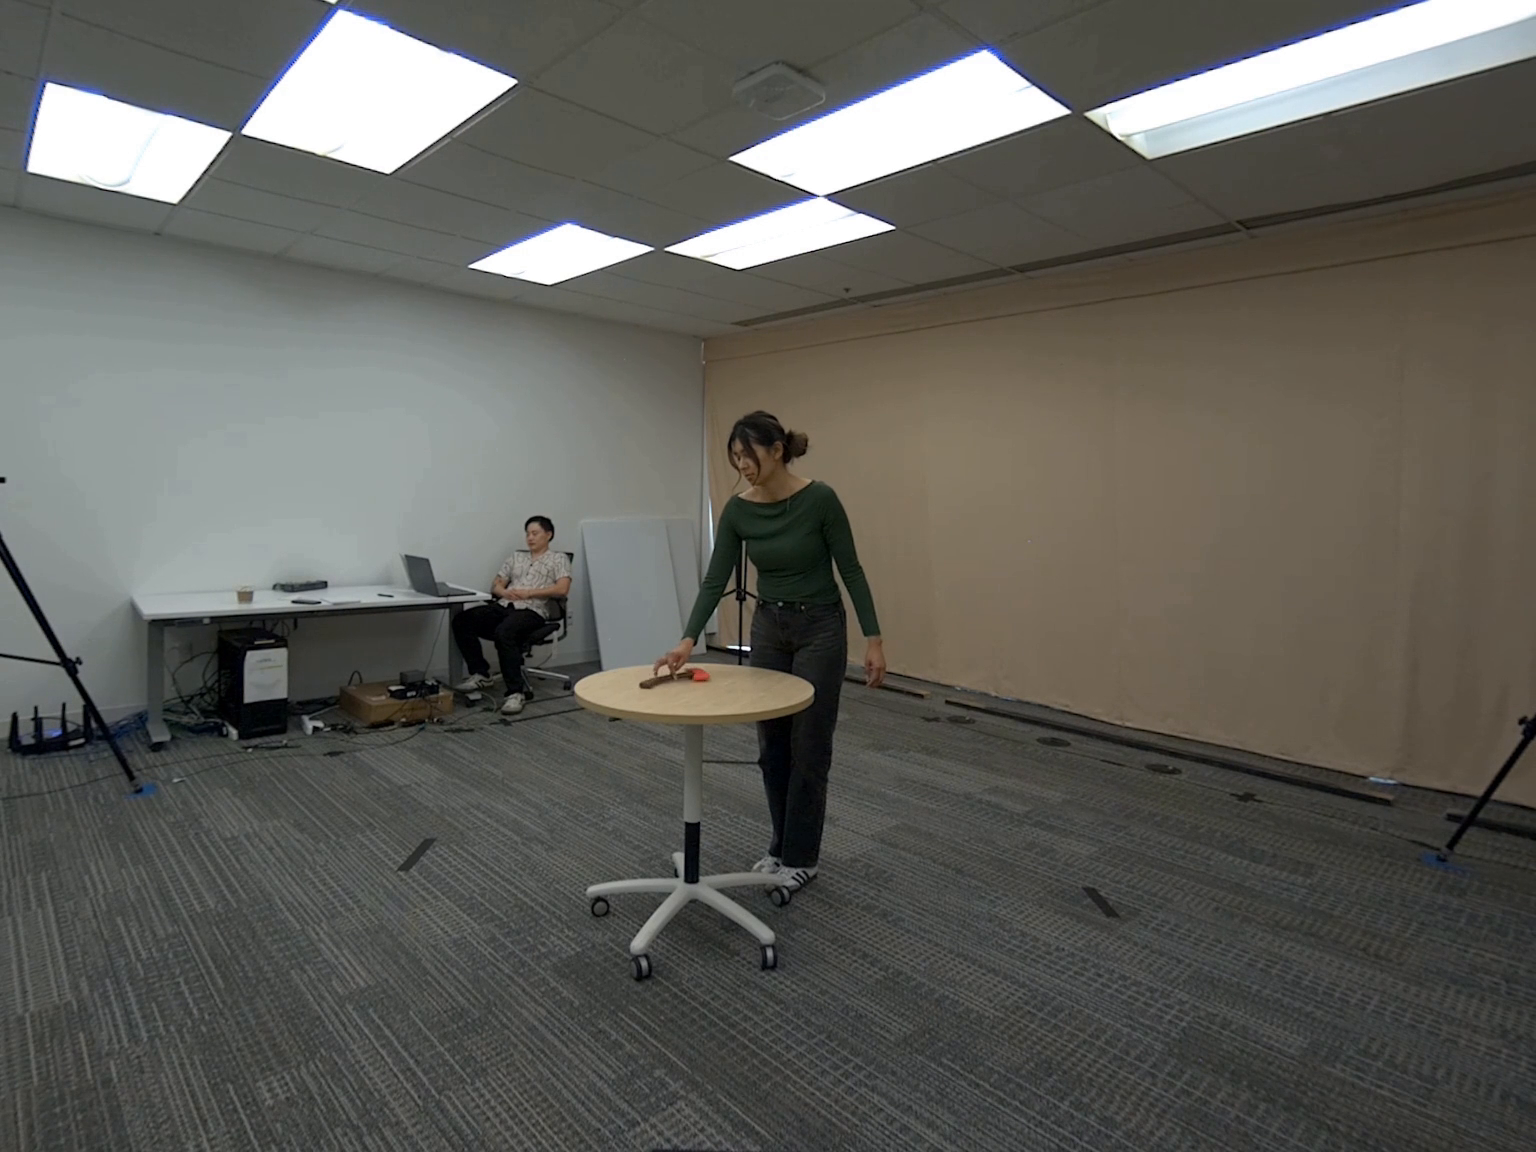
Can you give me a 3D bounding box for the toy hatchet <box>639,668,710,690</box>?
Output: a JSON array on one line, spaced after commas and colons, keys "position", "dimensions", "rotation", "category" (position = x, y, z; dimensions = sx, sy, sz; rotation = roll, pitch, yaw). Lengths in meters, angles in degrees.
[{"position": [-0.306, 0.341, 2.735], "dimensions": [0.134, 0.029, 0.265], "rotation": [5, 7, 28], "category": "toy hatchet"}]
